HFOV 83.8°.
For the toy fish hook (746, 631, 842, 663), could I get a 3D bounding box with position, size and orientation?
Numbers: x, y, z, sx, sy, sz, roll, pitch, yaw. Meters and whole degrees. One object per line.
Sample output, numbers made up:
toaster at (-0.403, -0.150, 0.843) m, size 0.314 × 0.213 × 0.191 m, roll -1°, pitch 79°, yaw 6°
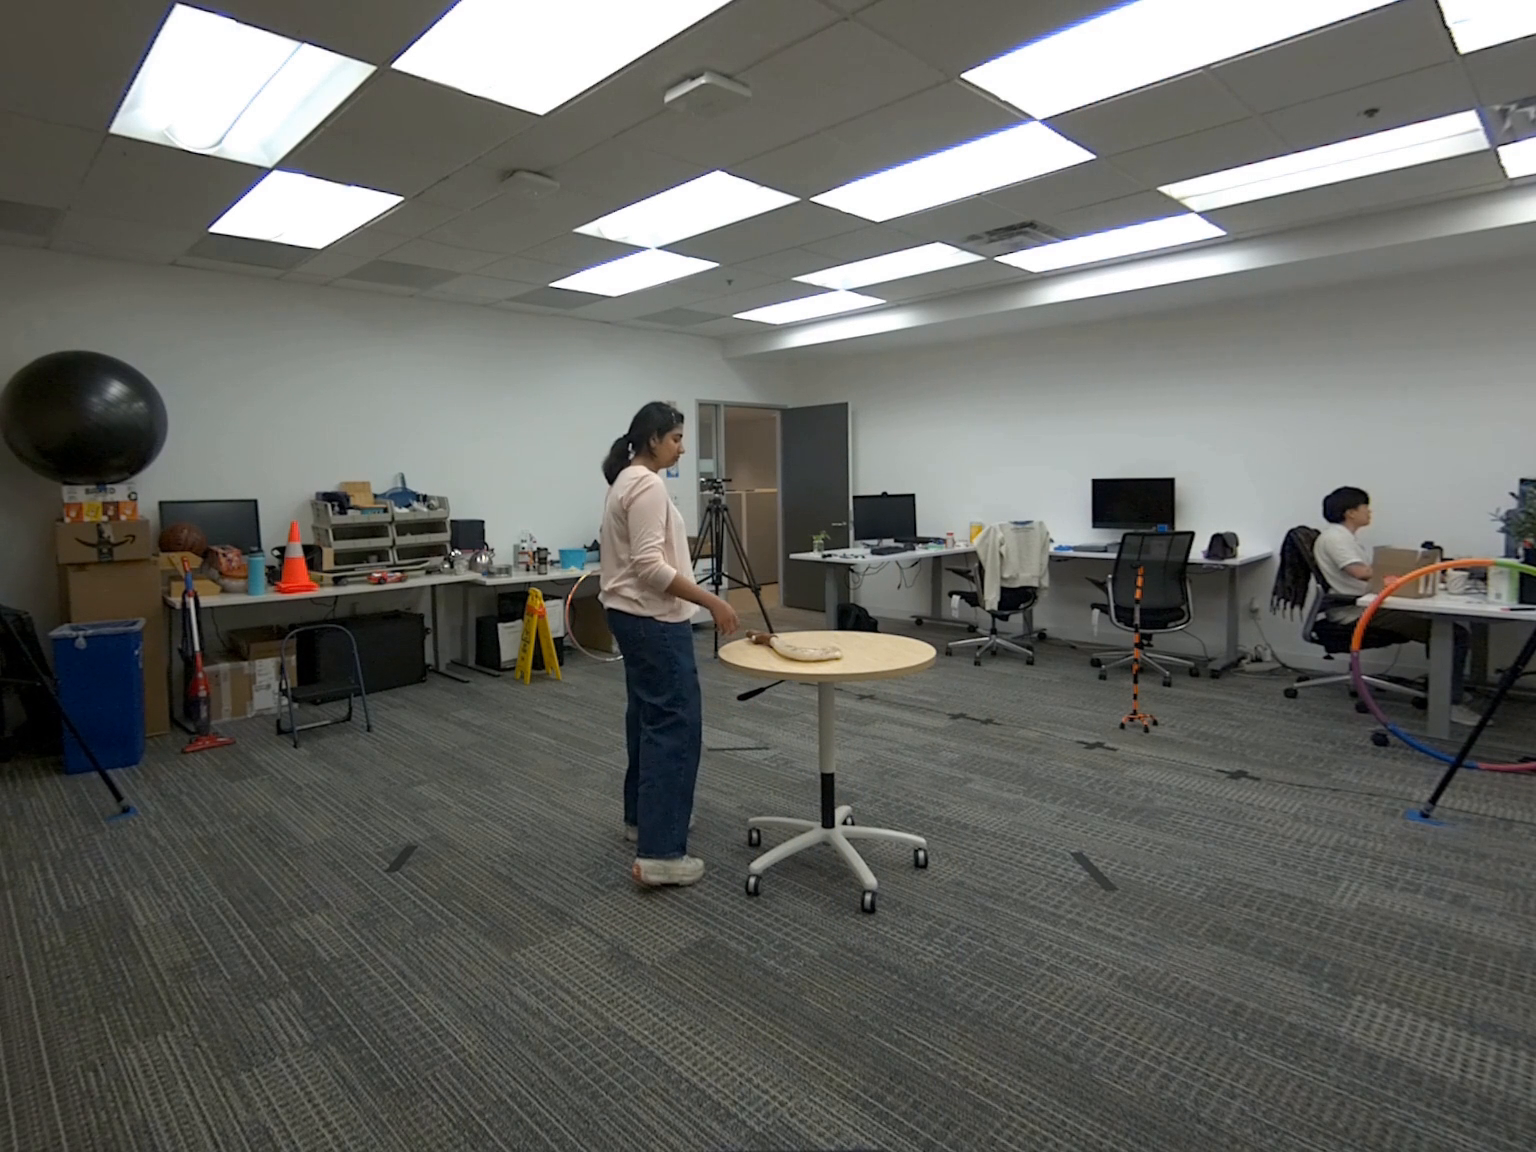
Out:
toy fish hook at (0.087, 0.251, 3.074) m, size 0.219 × 0.048 × 0.519 m, roll 3°, pitch 4°, yaw -26°
